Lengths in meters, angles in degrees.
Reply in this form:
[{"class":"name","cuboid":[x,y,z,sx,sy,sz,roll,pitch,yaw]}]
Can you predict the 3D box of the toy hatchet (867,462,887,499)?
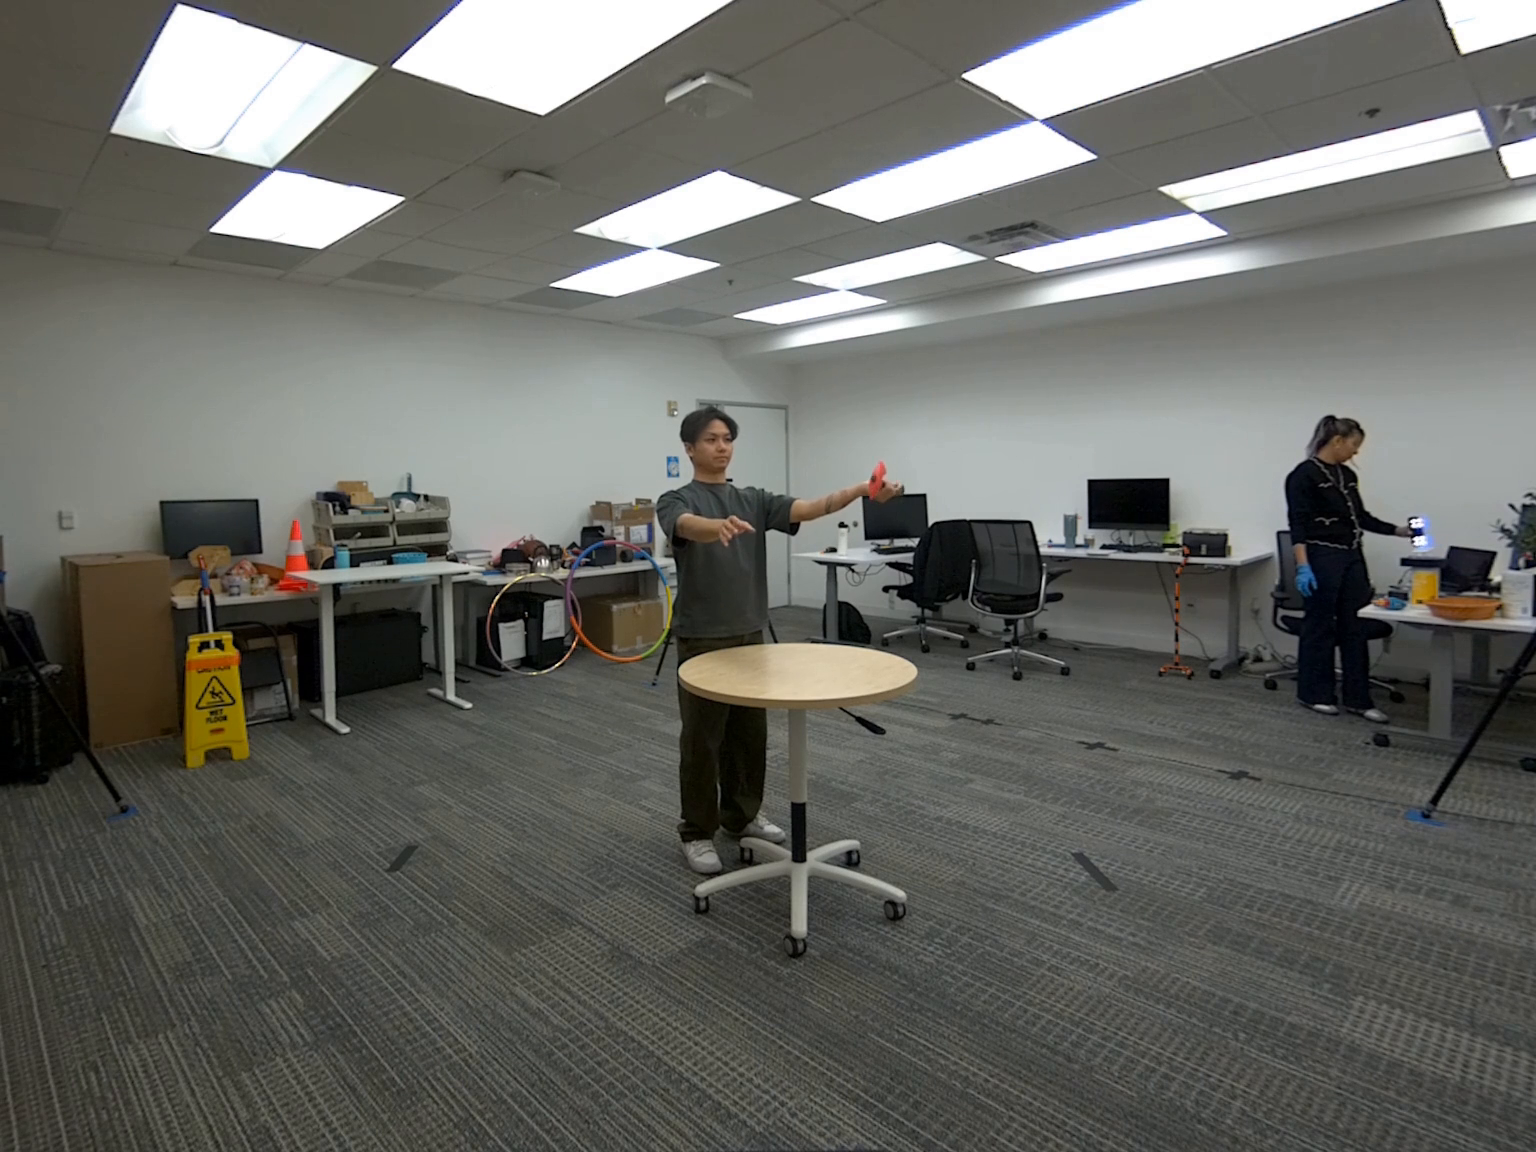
[{"class":"toy hatchet","cuboid":[0.416,-0.336,2.973,0.030,0.130,0.265,9,12,28]}]
